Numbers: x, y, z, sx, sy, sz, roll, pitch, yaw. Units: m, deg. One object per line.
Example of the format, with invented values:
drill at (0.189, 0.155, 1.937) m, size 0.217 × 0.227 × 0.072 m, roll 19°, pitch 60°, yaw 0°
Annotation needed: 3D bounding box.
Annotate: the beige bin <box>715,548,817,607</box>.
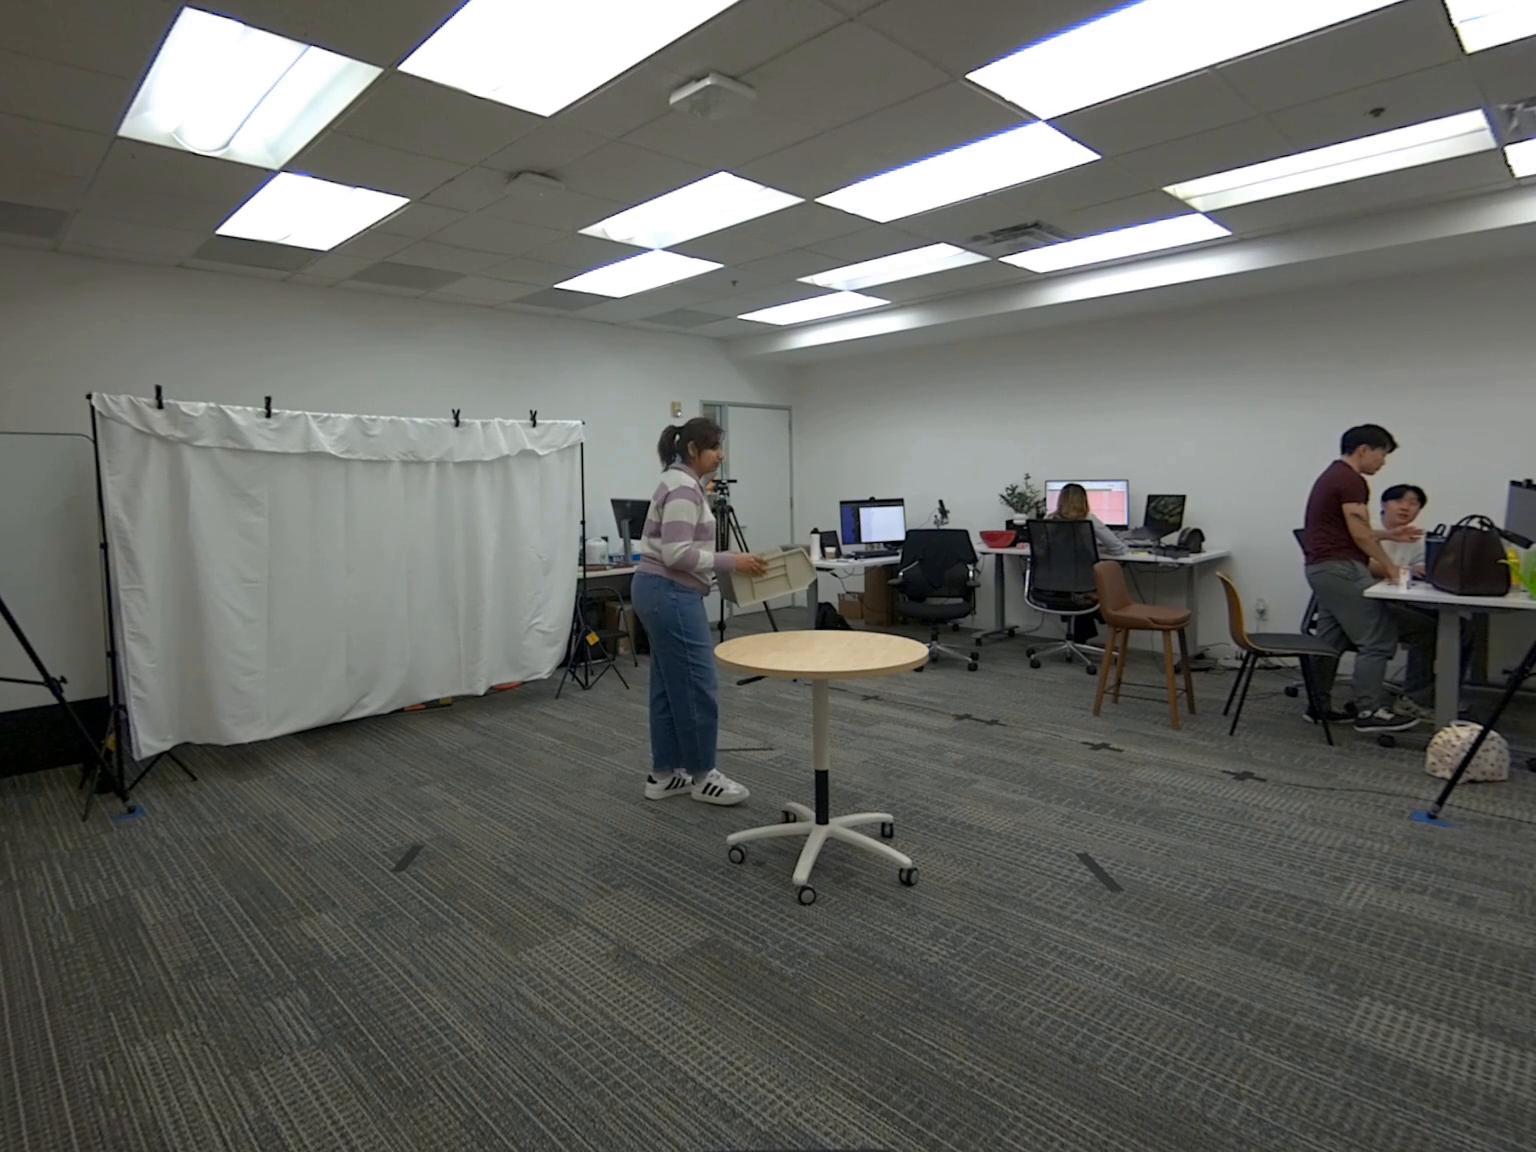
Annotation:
beige bin at (-0.018, -0.003, 3.833) m, size 0.374 × 0.188 × 0.428 m, roll -16°, pitch 6°, yaw -11°
